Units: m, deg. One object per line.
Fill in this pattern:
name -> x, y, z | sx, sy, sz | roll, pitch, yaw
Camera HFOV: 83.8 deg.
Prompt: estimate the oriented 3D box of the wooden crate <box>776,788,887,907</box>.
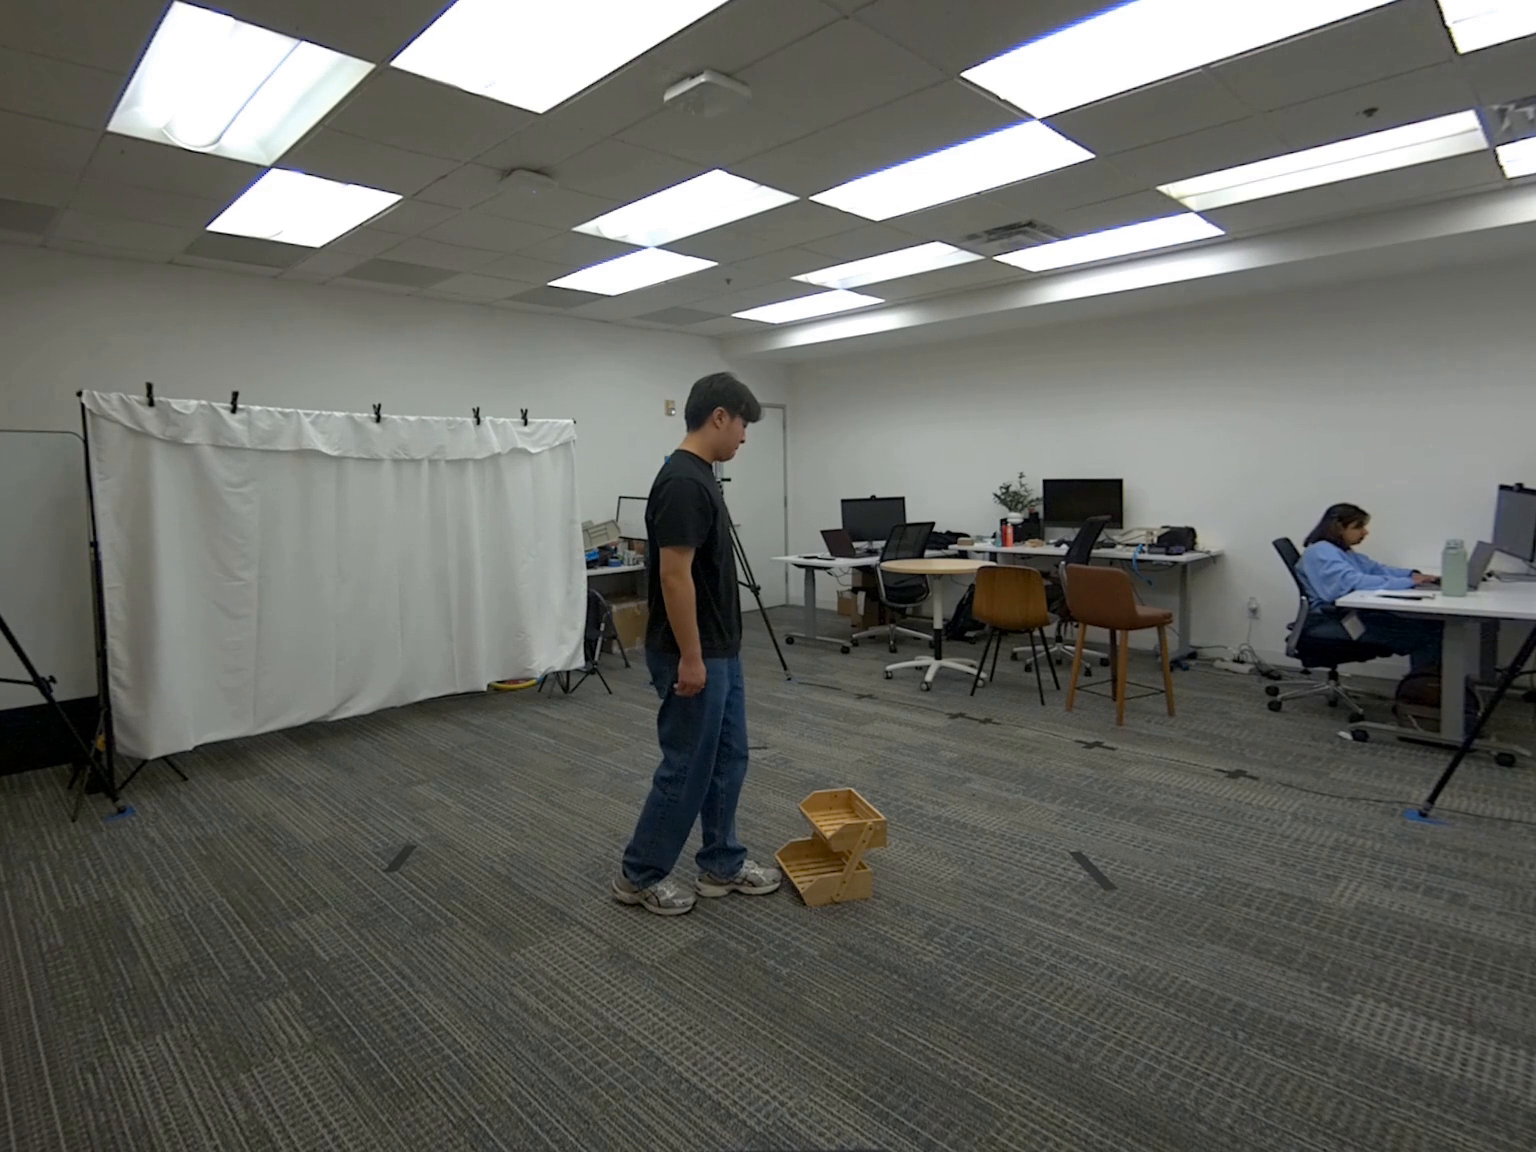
wooden crate -> 0.207, 0.919, 2.950 | 0.298, 0.272, 0.330 | -2, 5, -16
